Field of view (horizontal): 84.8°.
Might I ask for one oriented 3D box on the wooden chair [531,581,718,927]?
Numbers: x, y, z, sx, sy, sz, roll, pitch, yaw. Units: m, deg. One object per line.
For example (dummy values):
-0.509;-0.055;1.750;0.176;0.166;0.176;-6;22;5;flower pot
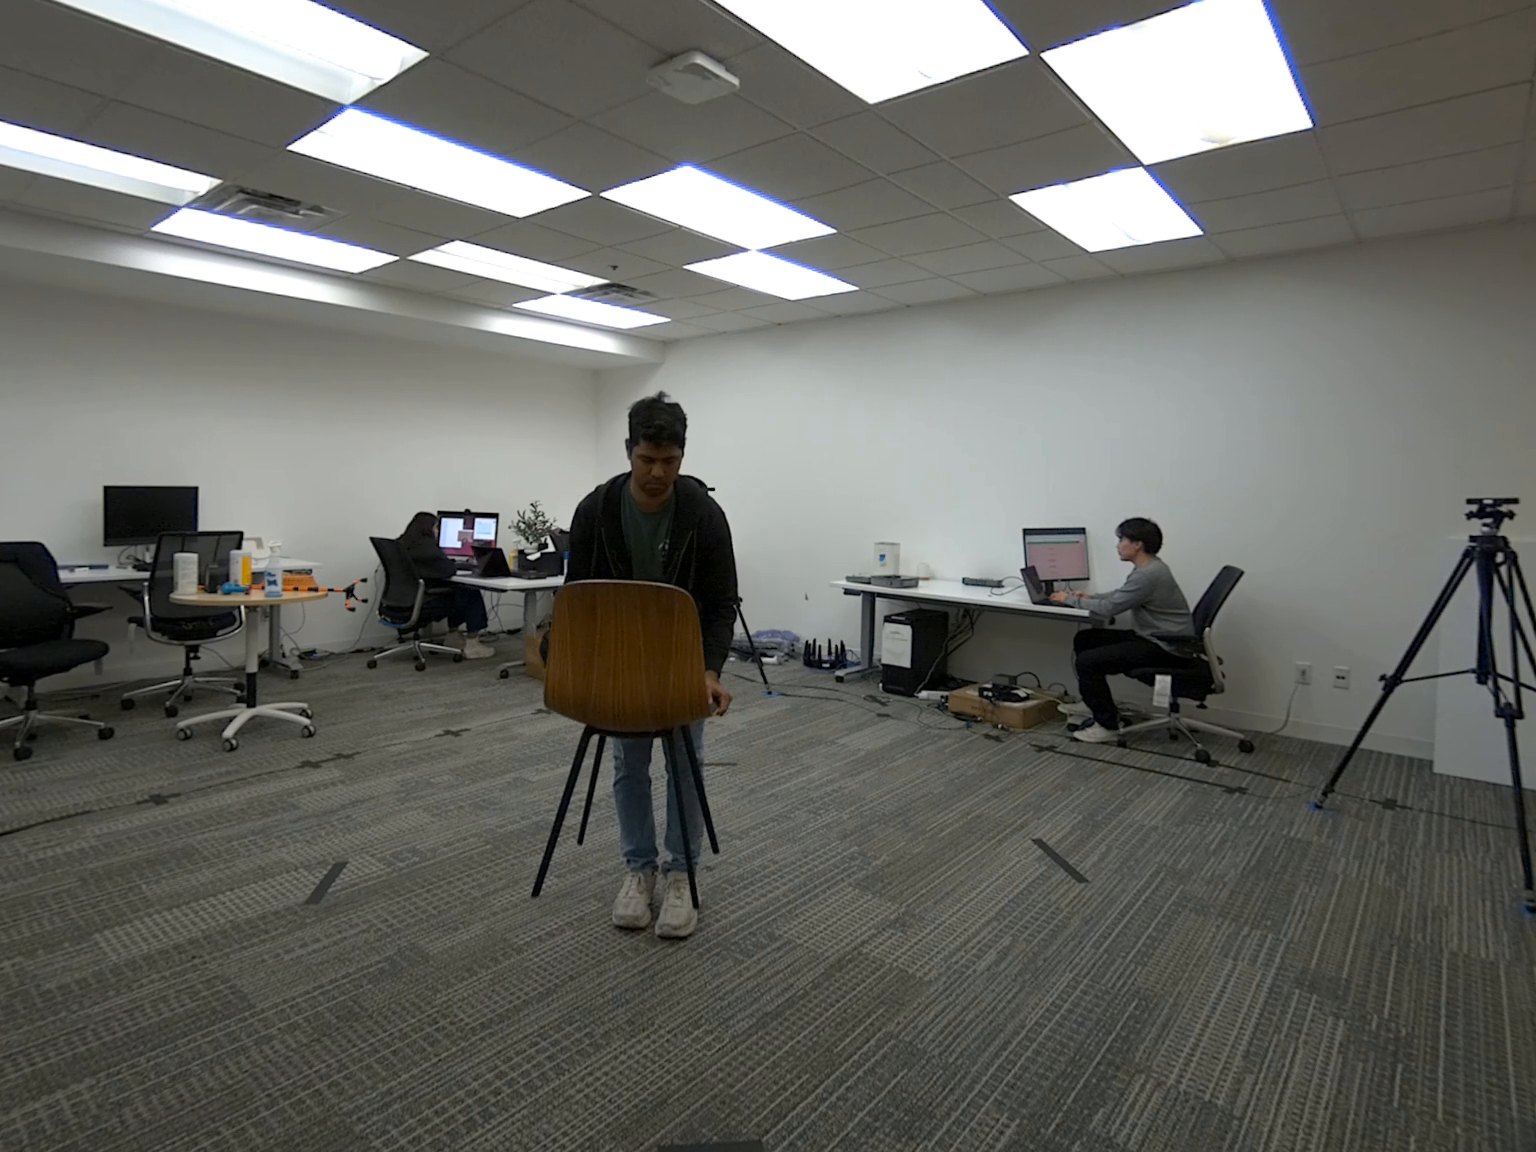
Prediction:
-0.382;0.431;2.472;0.481;0.876;0.521;1;2;5;wooden chair
